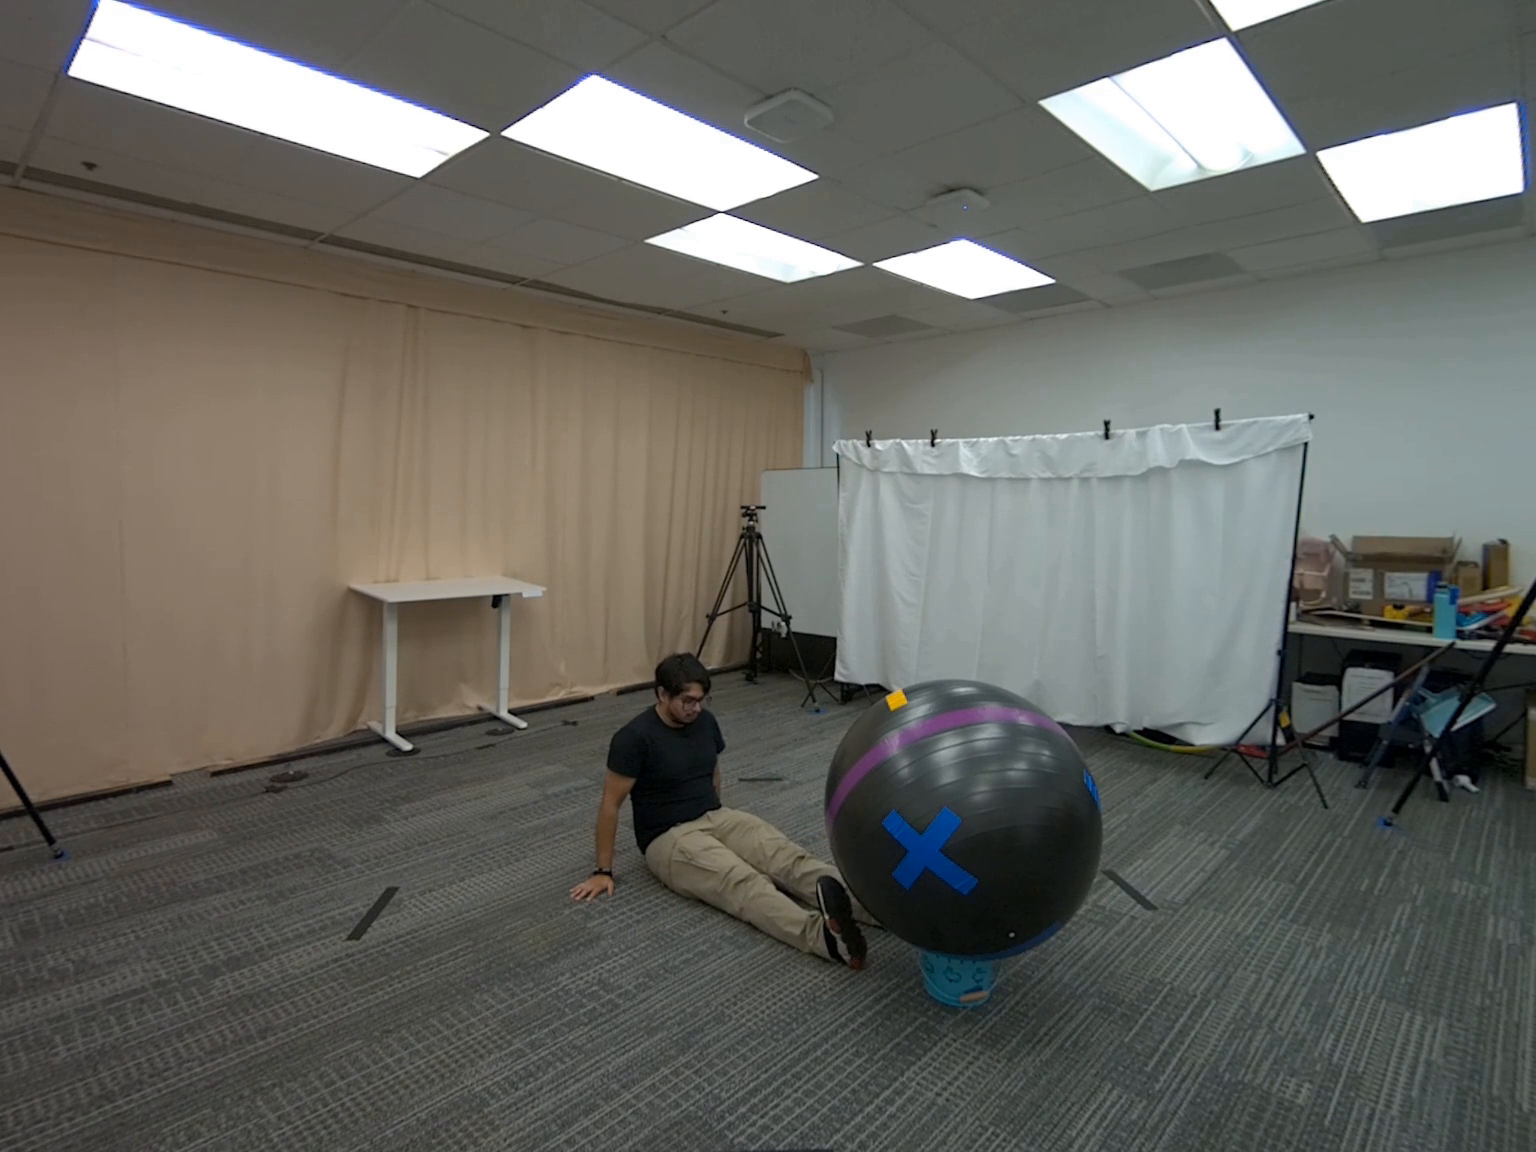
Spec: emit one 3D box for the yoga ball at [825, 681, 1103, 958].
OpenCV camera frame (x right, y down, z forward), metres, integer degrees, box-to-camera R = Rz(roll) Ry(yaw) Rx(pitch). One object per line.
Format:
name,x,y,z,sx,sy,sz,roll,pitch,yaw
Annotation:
yoga ball,0.549,0.685,2.404,0.757,0.756,0.760,0,4,-2
